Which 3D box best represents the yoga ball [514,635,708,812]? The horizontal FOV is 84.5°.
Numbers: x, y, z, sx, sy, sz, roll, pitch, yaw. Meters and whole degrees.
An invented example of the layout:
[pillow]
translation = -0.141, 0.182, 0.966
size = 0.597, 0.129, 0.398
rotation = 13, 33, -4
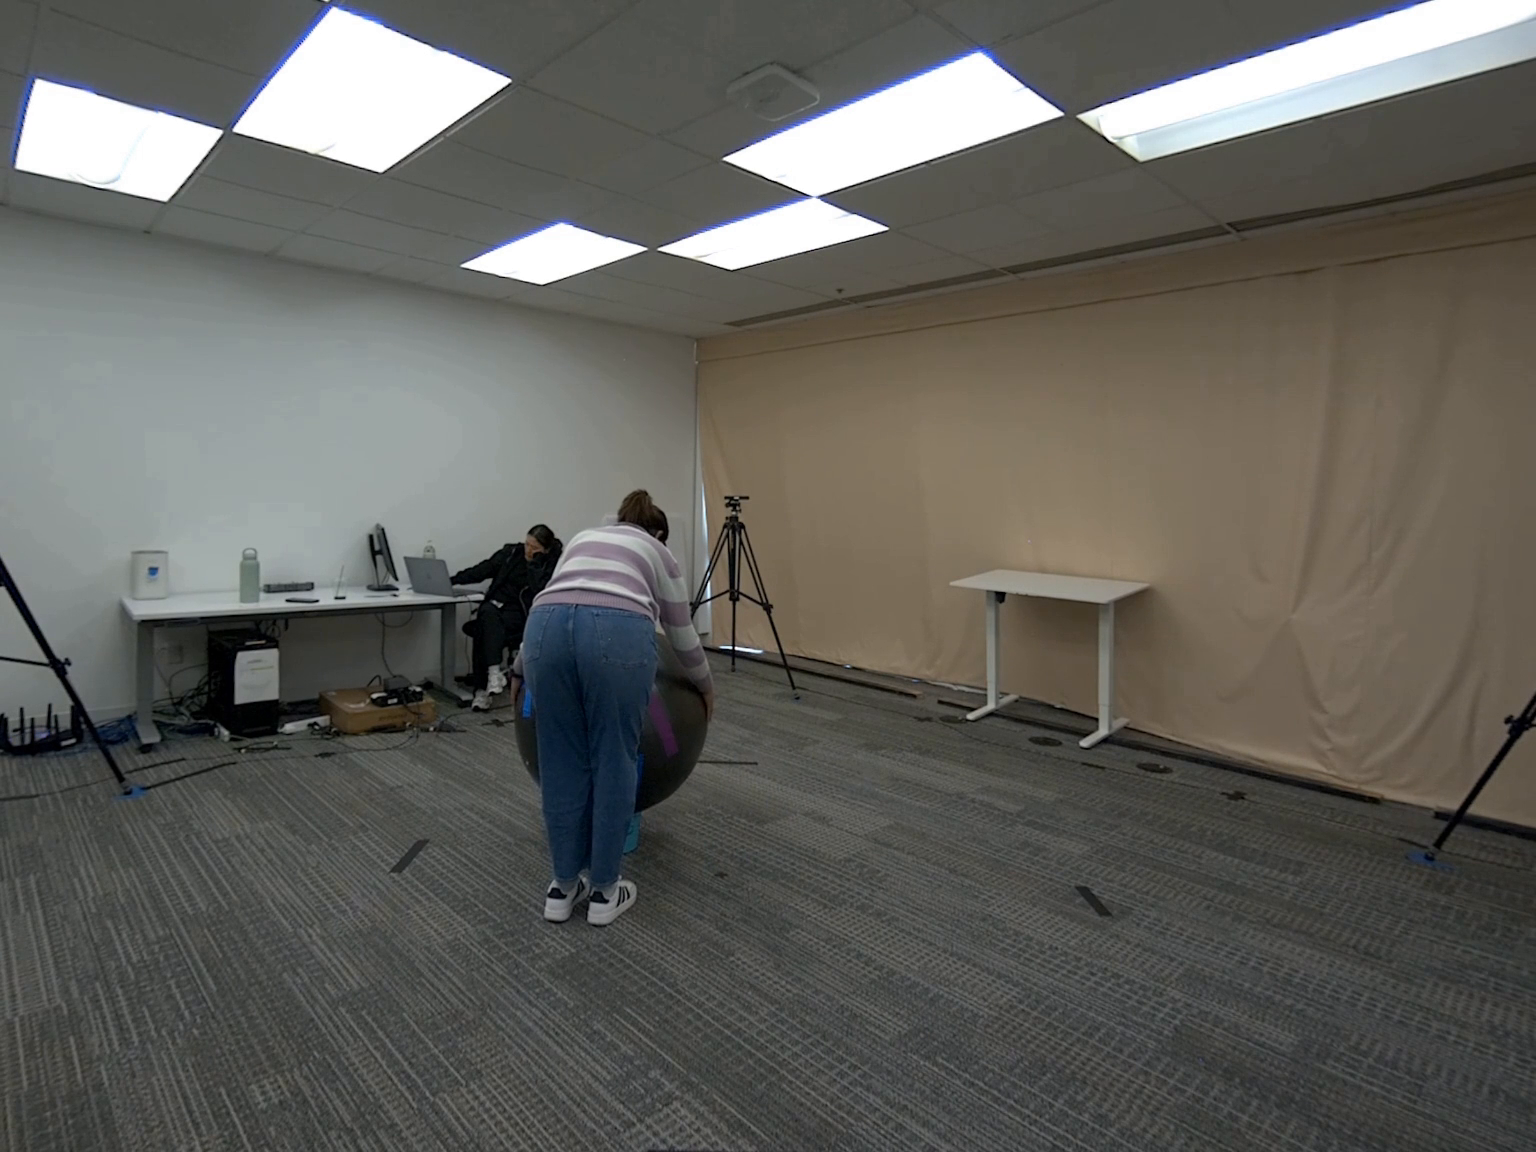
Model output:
[yoga ball]
translation = -0.620, 0.559, 3.331
size = 0.757, 0.756, 0.761
rotation = 1, 4, -1
